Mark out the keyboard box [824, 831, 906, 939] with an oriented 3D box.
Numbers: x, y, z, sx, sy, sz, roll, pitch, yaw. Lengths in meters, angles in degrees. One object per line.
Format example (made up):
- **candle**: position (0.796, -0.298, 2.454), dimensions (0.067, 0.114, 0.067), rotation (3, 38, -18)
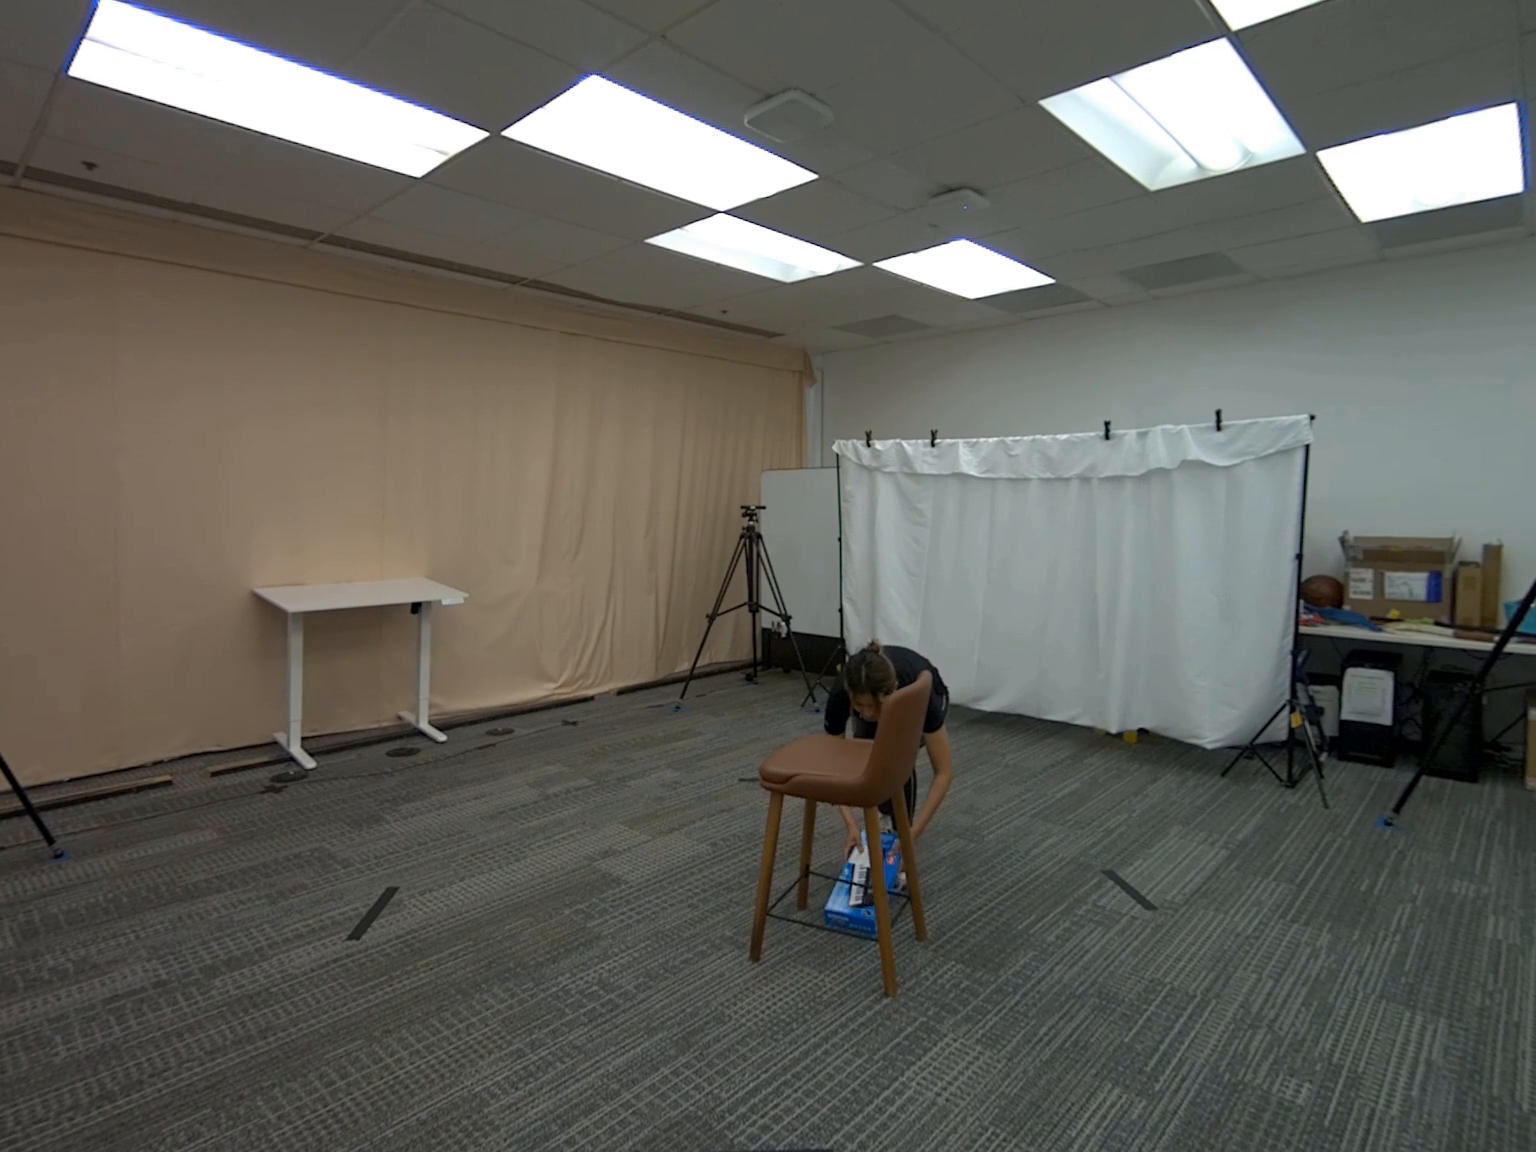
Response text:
- **keyboard box**: position (0.353, 1.063, 2.939), dimensions (0.180, 0.058, 0.432), rotation (3, 22, 24)
